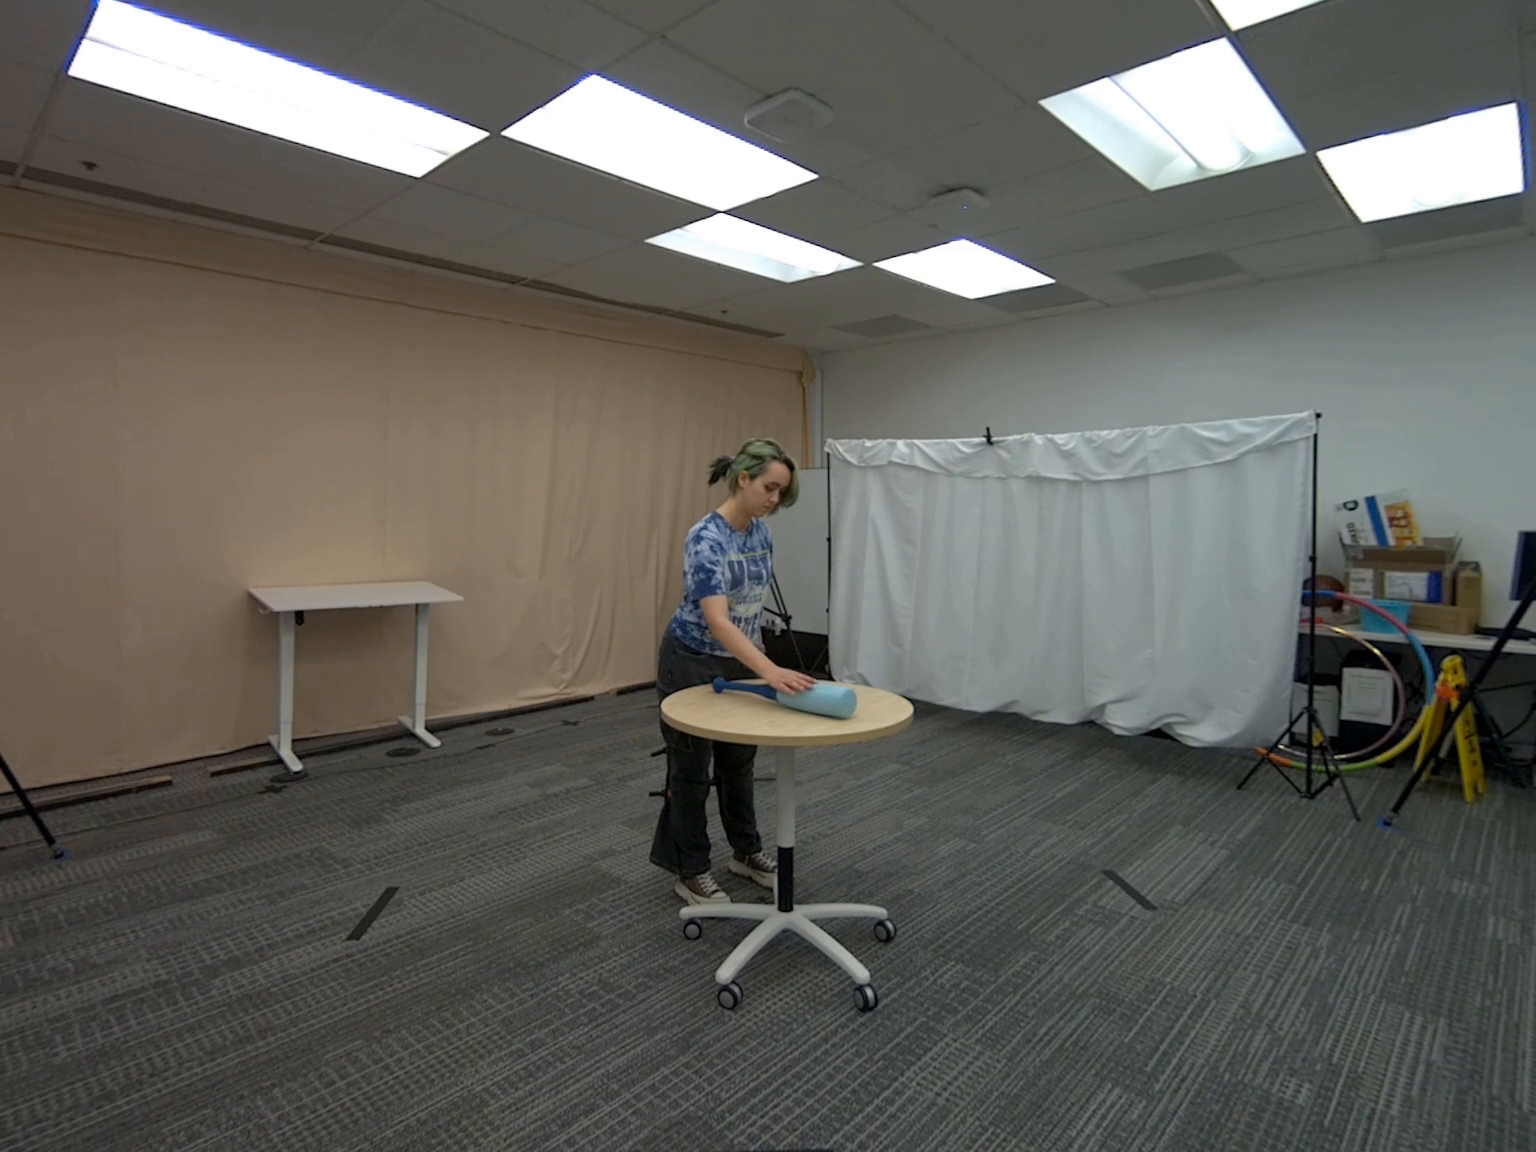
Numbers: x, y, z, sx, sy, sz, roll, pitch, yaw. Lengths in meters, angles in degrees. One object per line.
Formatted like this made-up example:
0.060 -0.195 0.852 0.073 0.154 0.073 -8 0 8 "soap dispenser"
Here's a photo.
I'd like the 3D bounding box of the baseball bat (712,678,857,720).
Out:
0.033 0.361 2.557 0.560 0.089 0.086 0 2 44 "baseball bat"
